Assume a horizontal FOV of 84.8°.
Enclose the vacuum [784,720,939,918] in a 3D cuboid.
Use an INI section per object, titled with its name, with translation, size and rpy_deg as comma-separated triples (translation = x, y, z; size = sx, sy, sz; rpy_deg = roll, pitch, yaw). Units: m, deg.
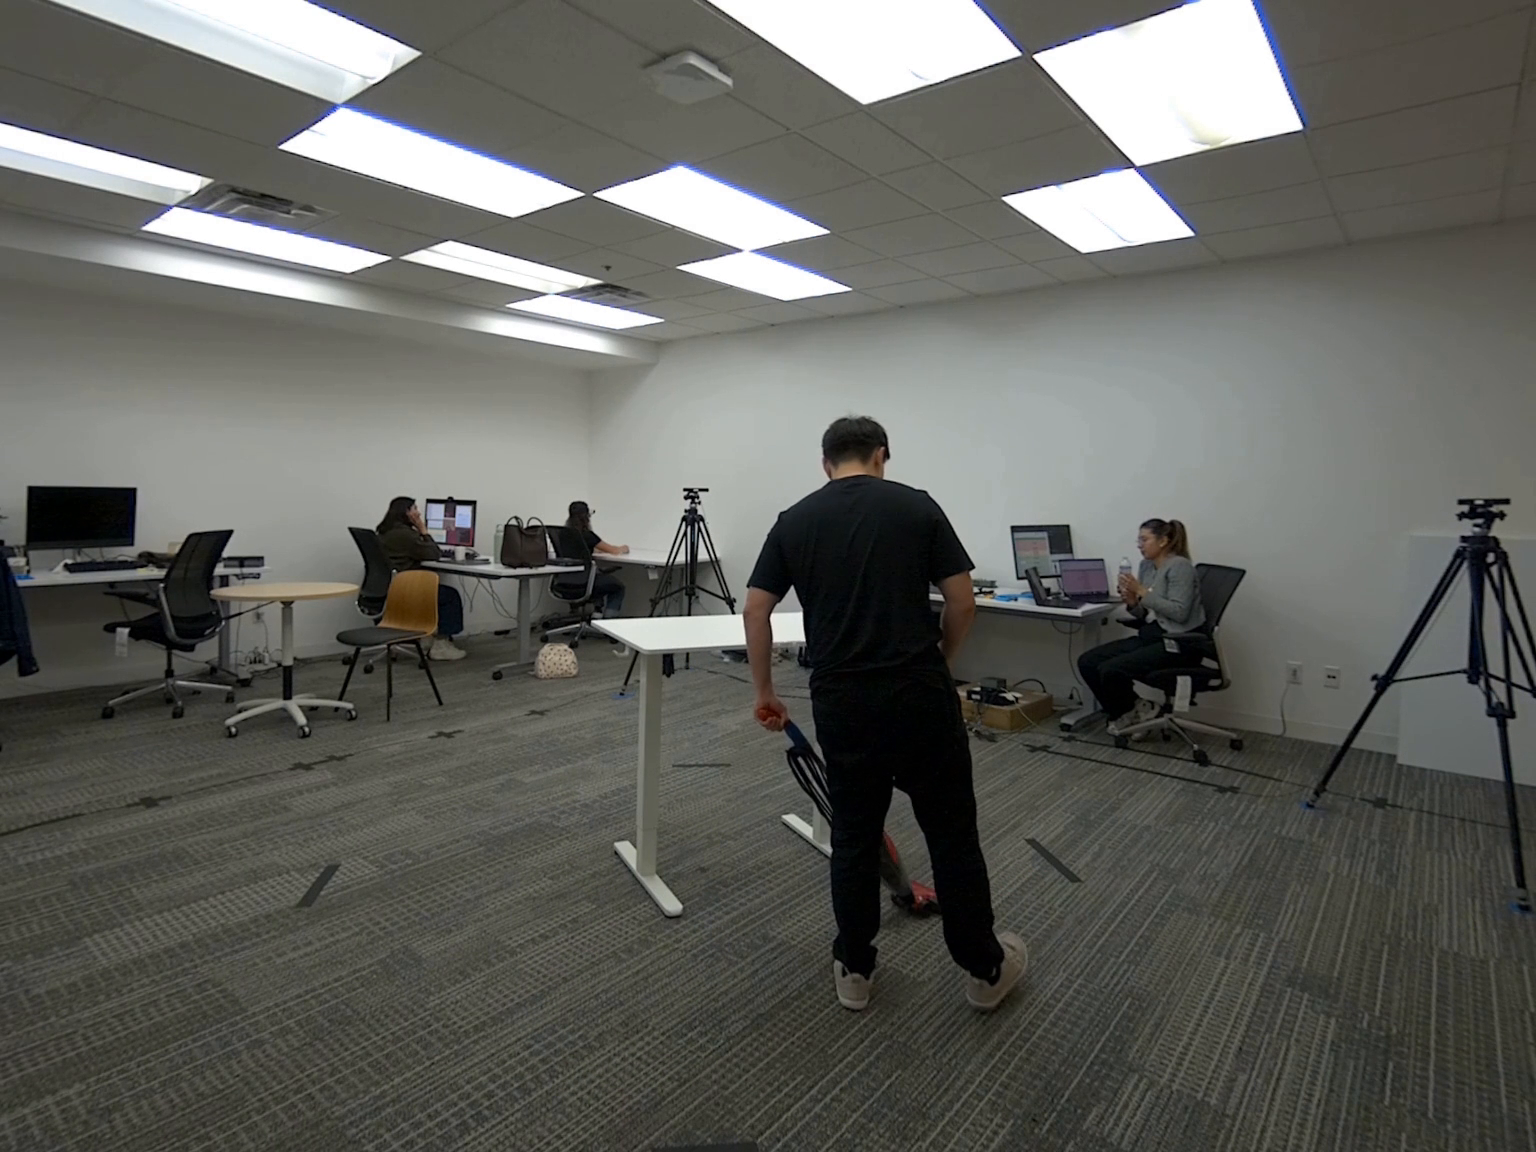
[vacuum]
translation = 0.251, 0.746, 2.636
size = 0.261, 0.144, 1.012
rpy_deg = 6, -38, 50
